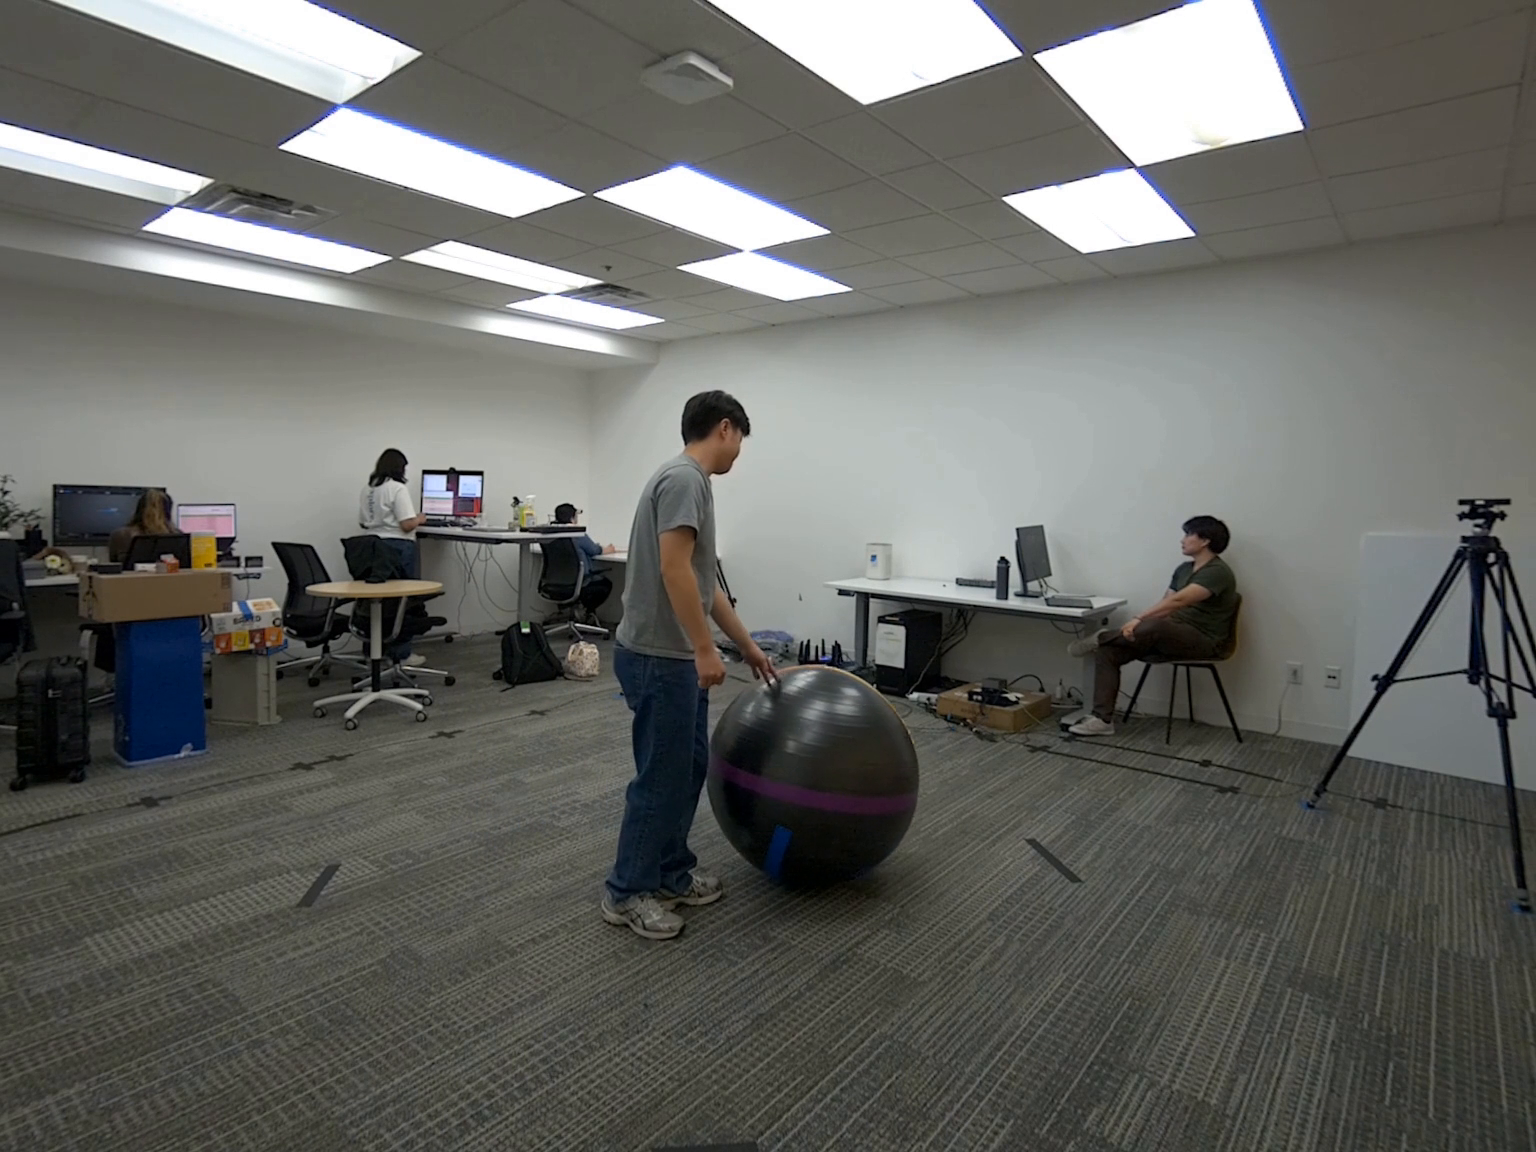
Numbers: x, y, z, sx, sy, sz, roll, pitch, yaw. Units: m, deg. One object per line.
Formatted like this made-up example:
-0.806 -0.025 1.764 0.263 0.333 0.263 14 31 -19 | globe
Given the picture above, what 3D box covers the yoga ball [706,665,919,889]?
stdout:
0.154 0.706 3.075 0.757 0.755 0.762 1 4 -2 | yoga ball
